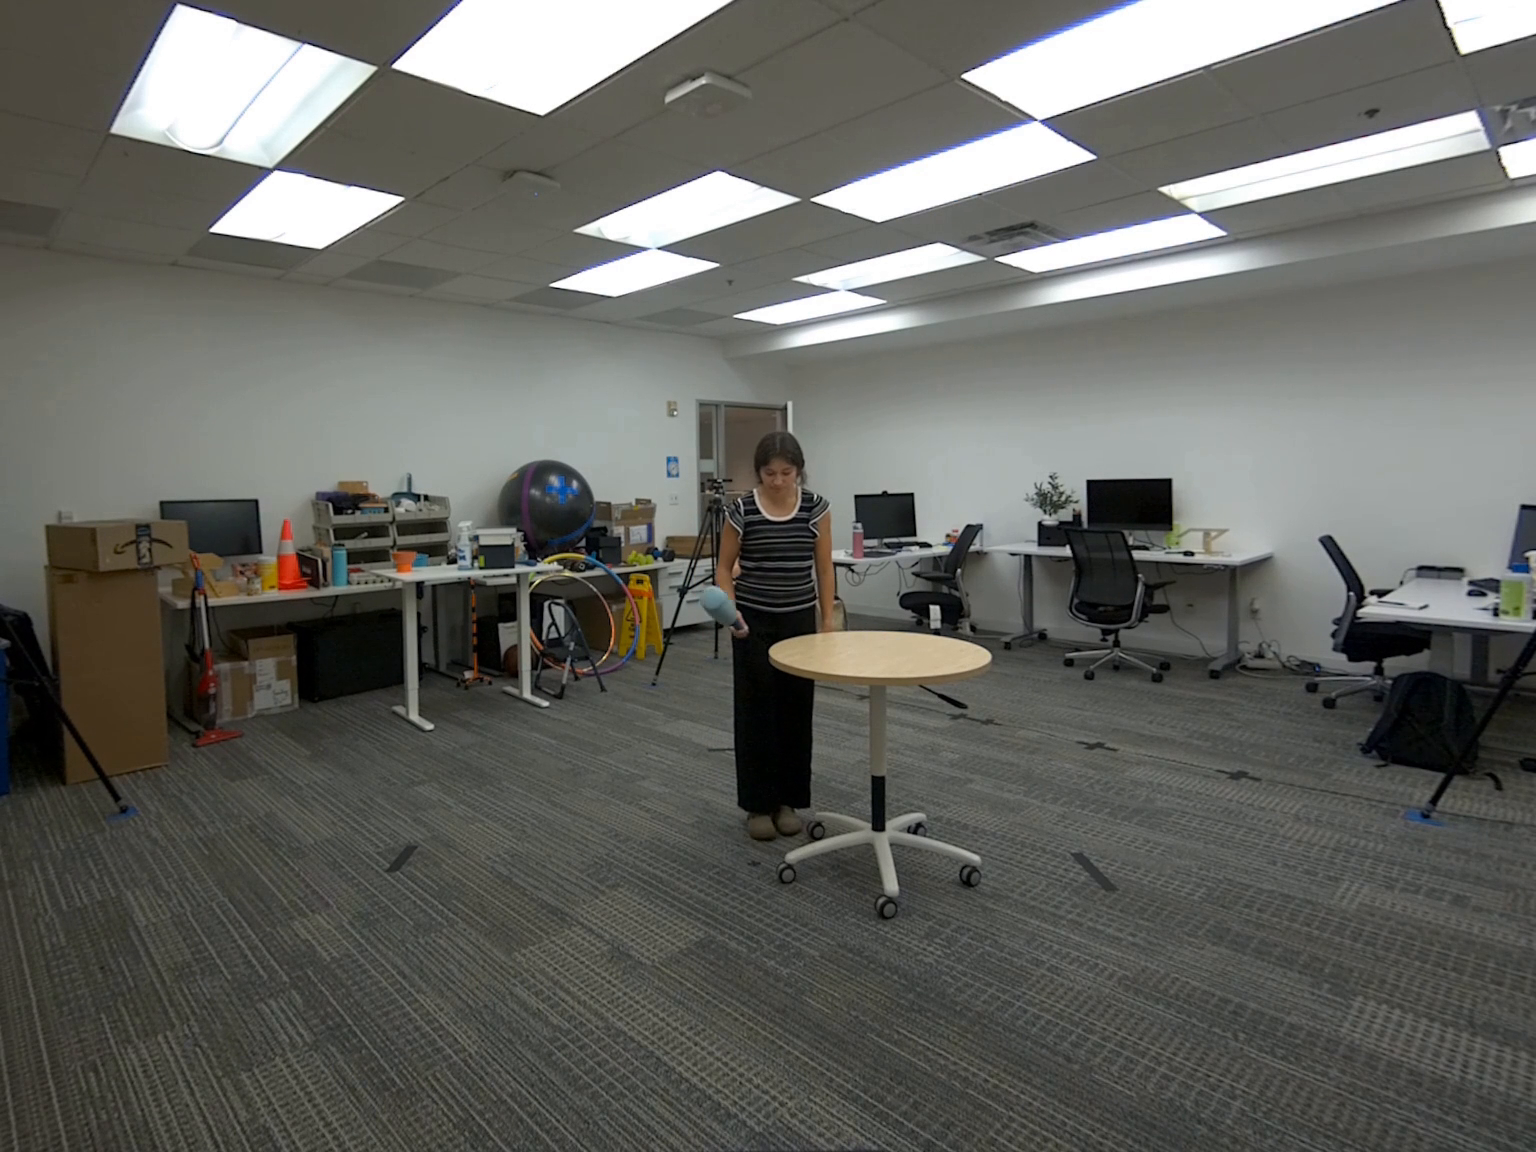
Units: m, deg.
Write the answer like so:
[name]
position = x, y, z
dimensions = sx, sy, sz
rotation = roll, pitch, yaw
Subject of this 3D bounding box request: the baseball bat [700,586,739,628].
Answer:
[baseball bat]
position = -0.140, 0.158, 3.040
dimensions = 0.090, 0.090, 0.528
rotation = 1, -15, 13
